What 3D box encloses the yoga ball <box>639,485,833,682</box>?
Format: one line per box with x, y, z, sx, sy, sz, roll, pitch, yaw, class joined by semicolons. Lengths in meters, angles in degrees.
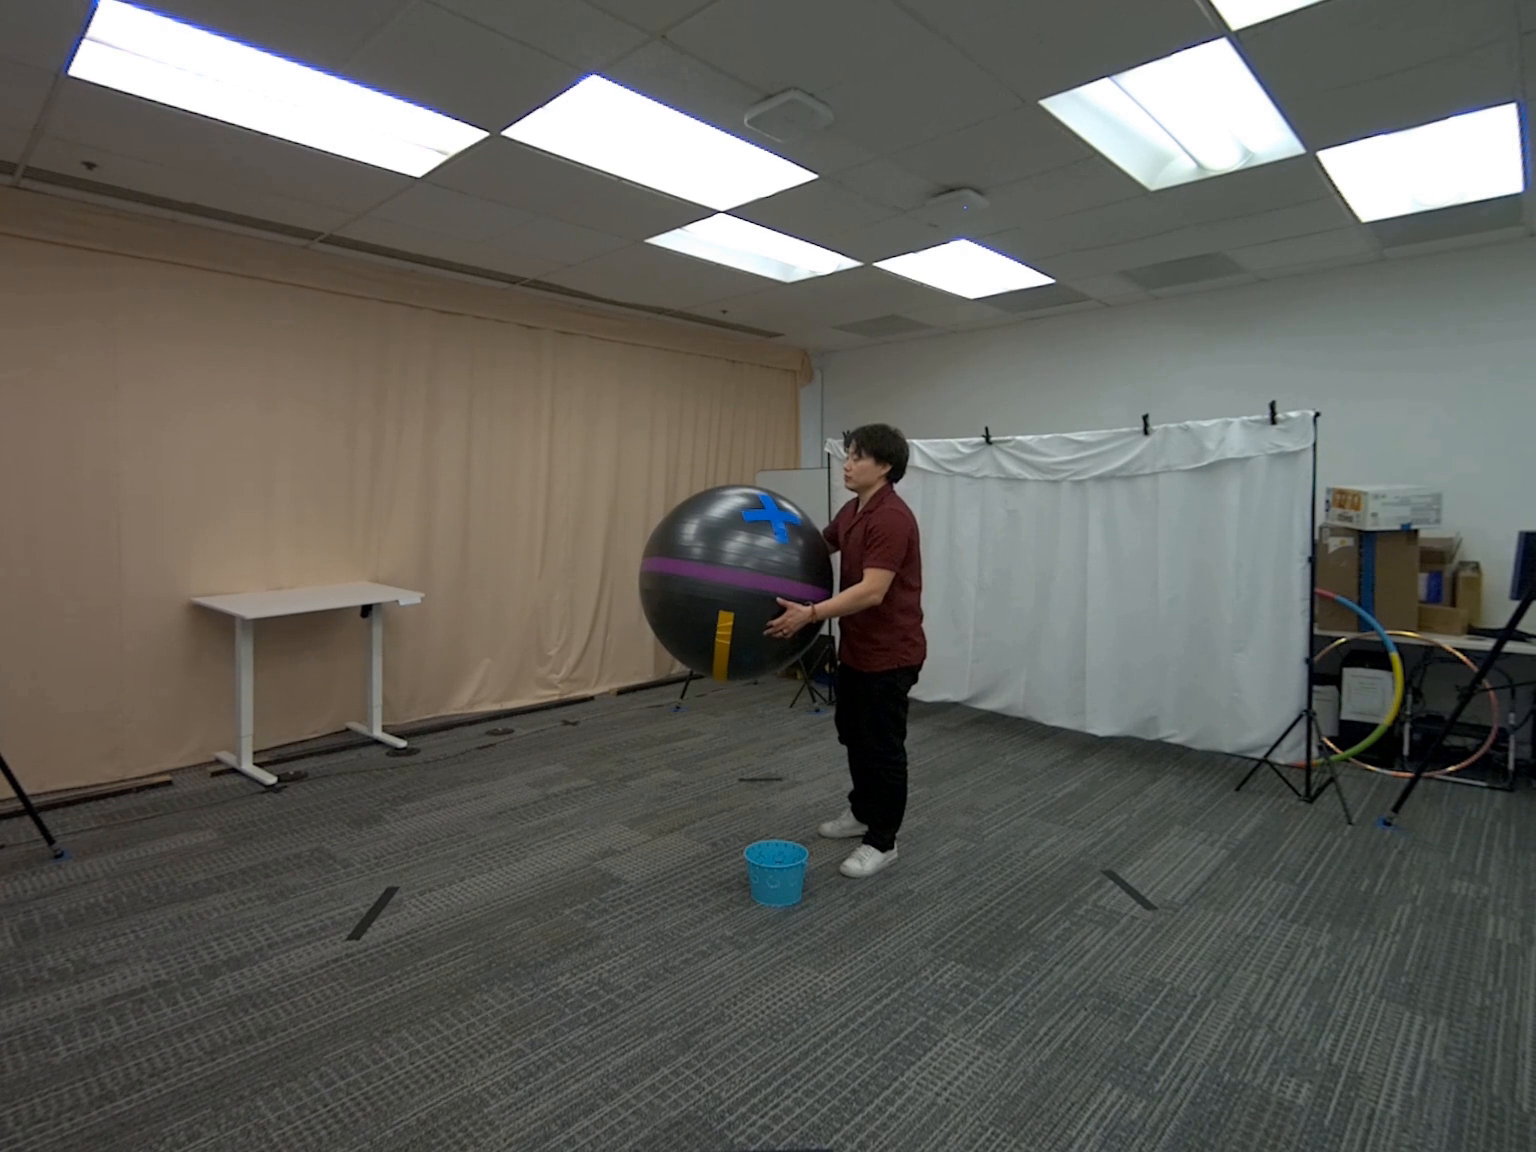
-0.122;0.033;3.293;0.757;0.756;0.761;0;4;-2;yoga ball
